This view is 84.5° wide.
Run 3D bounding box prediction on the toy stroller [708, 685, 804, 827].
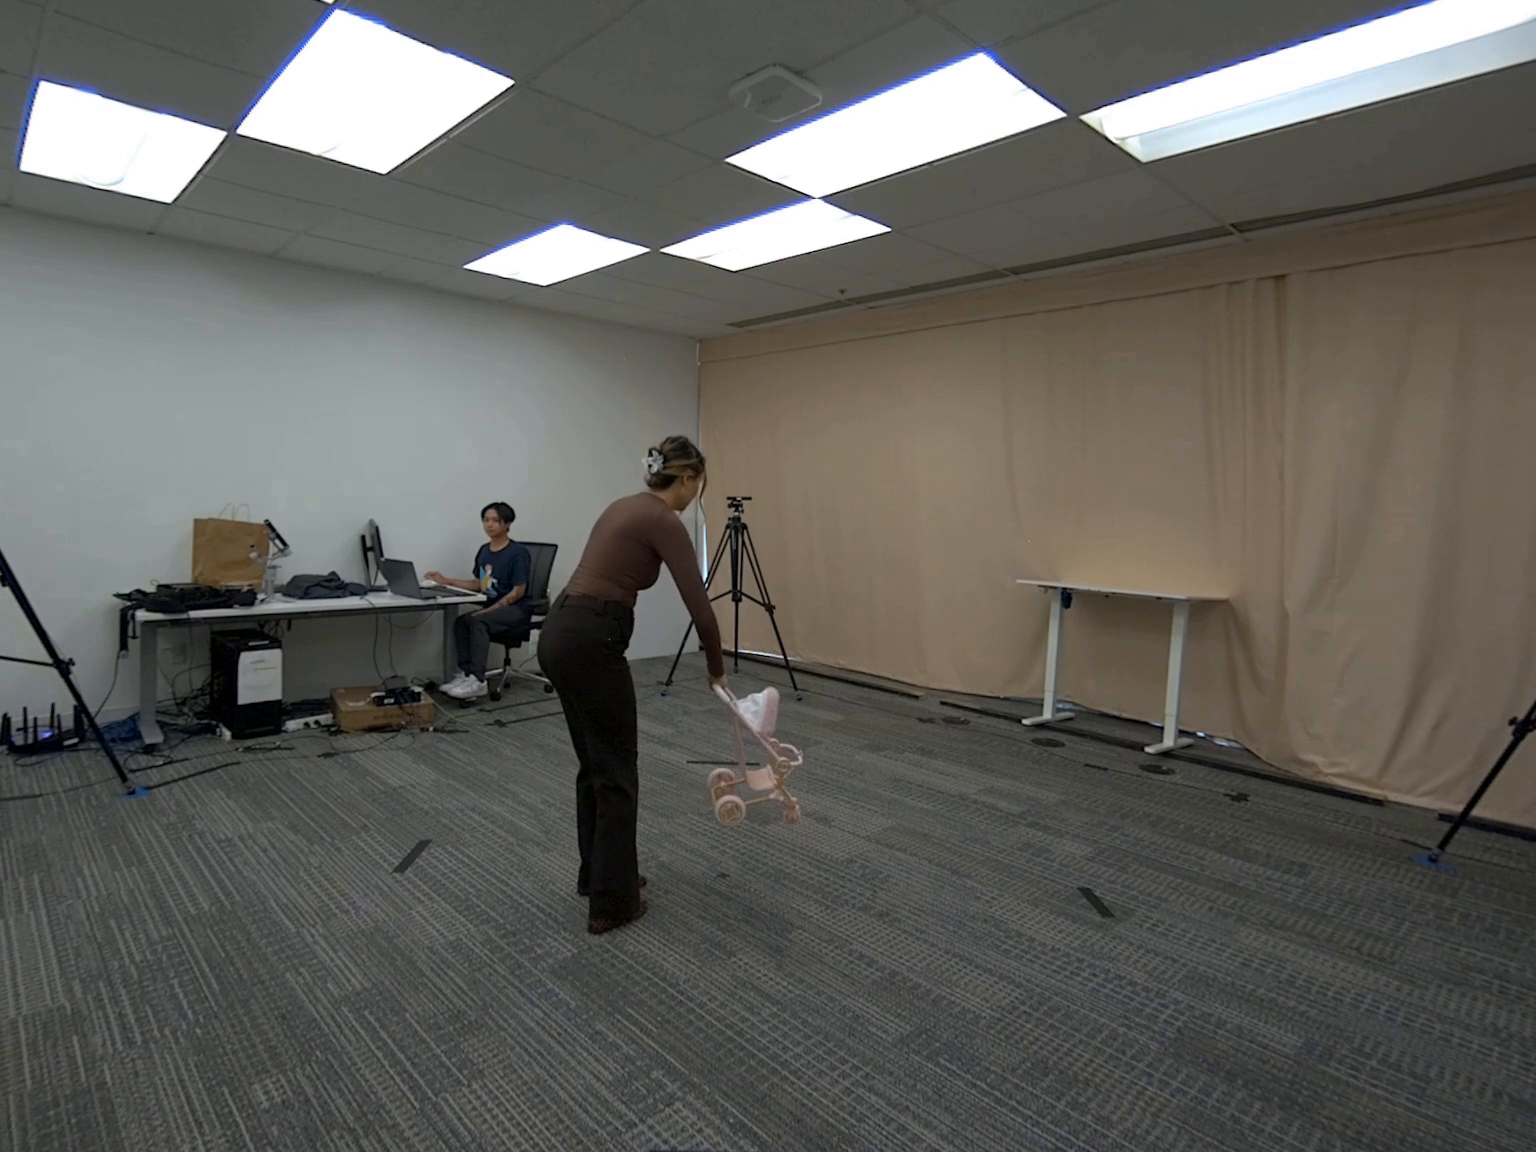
[{"bbox_3d":[-0.033,0.634,2.976,0.340,0.533,0.283,2,6,-4],"label":"toy stroller"}]
